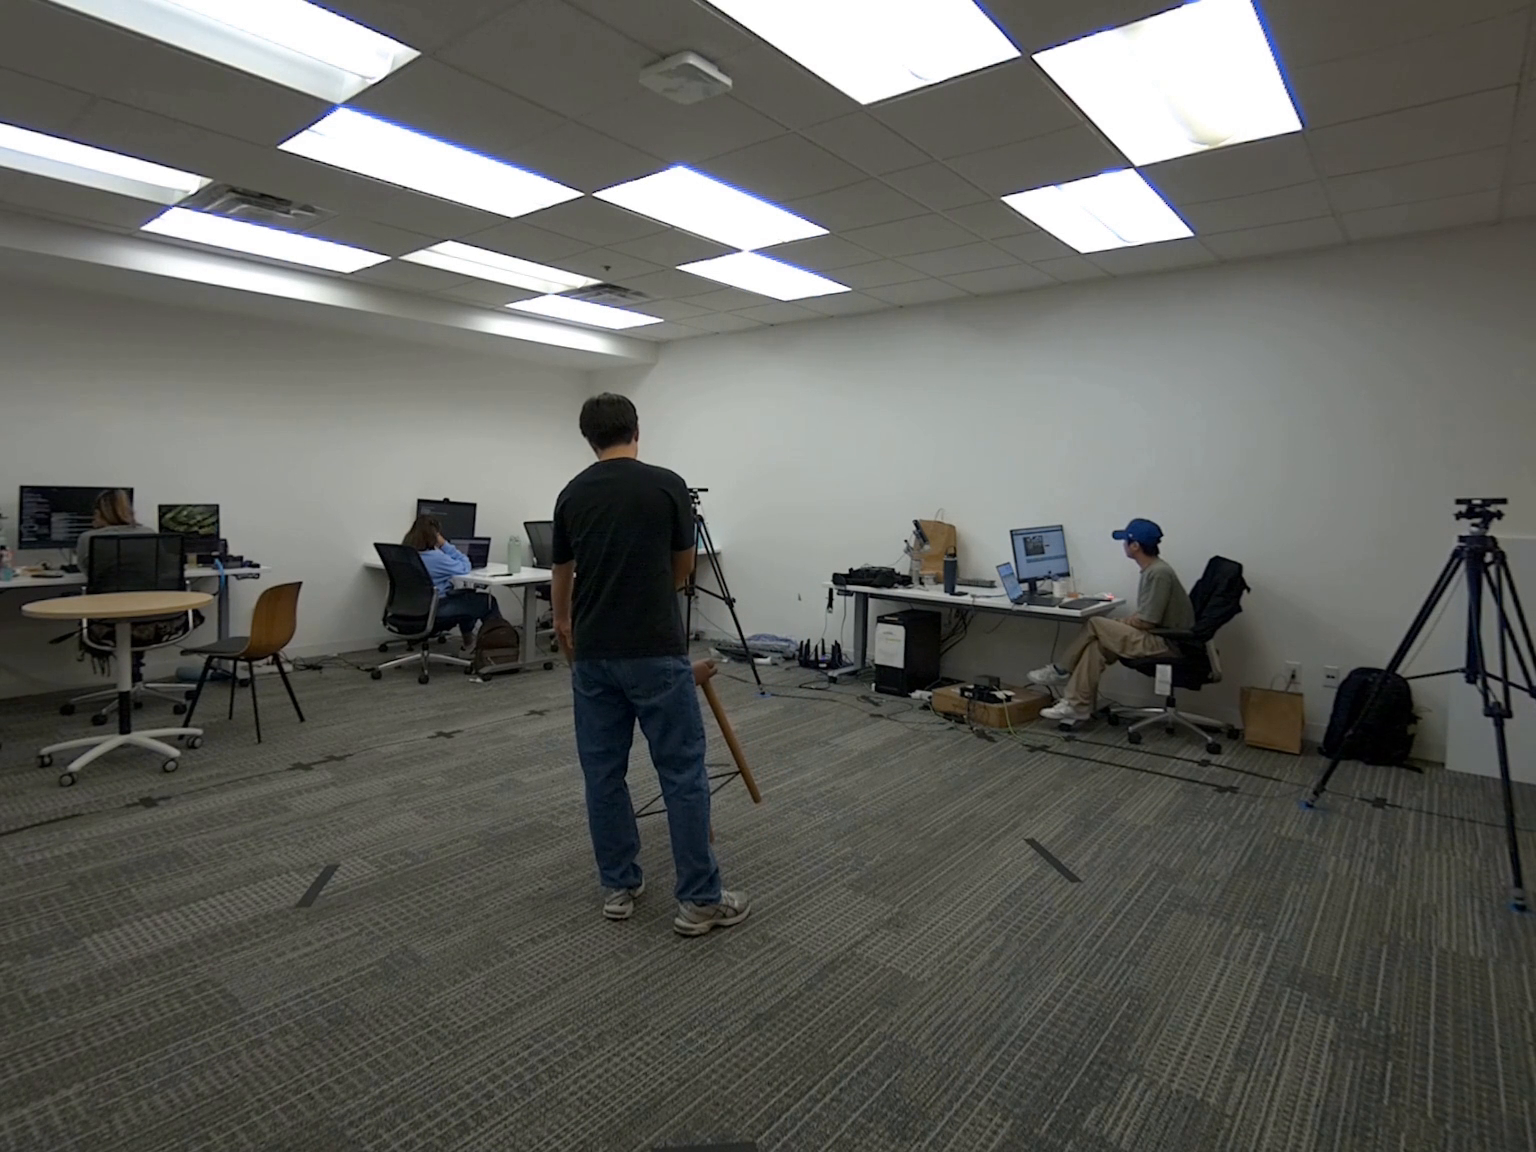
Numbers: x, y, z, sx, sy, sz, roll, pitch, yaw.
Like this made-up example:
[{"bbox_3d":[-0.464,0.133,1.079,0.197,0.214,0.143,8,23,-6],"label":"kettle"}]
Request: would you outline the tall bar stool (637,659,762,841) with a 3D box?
[{"bbox_3d":[-0.431,0.567,3.335,0.463,0.894,0.459,-20,-3,24],"label":"tall bar stool"}]
